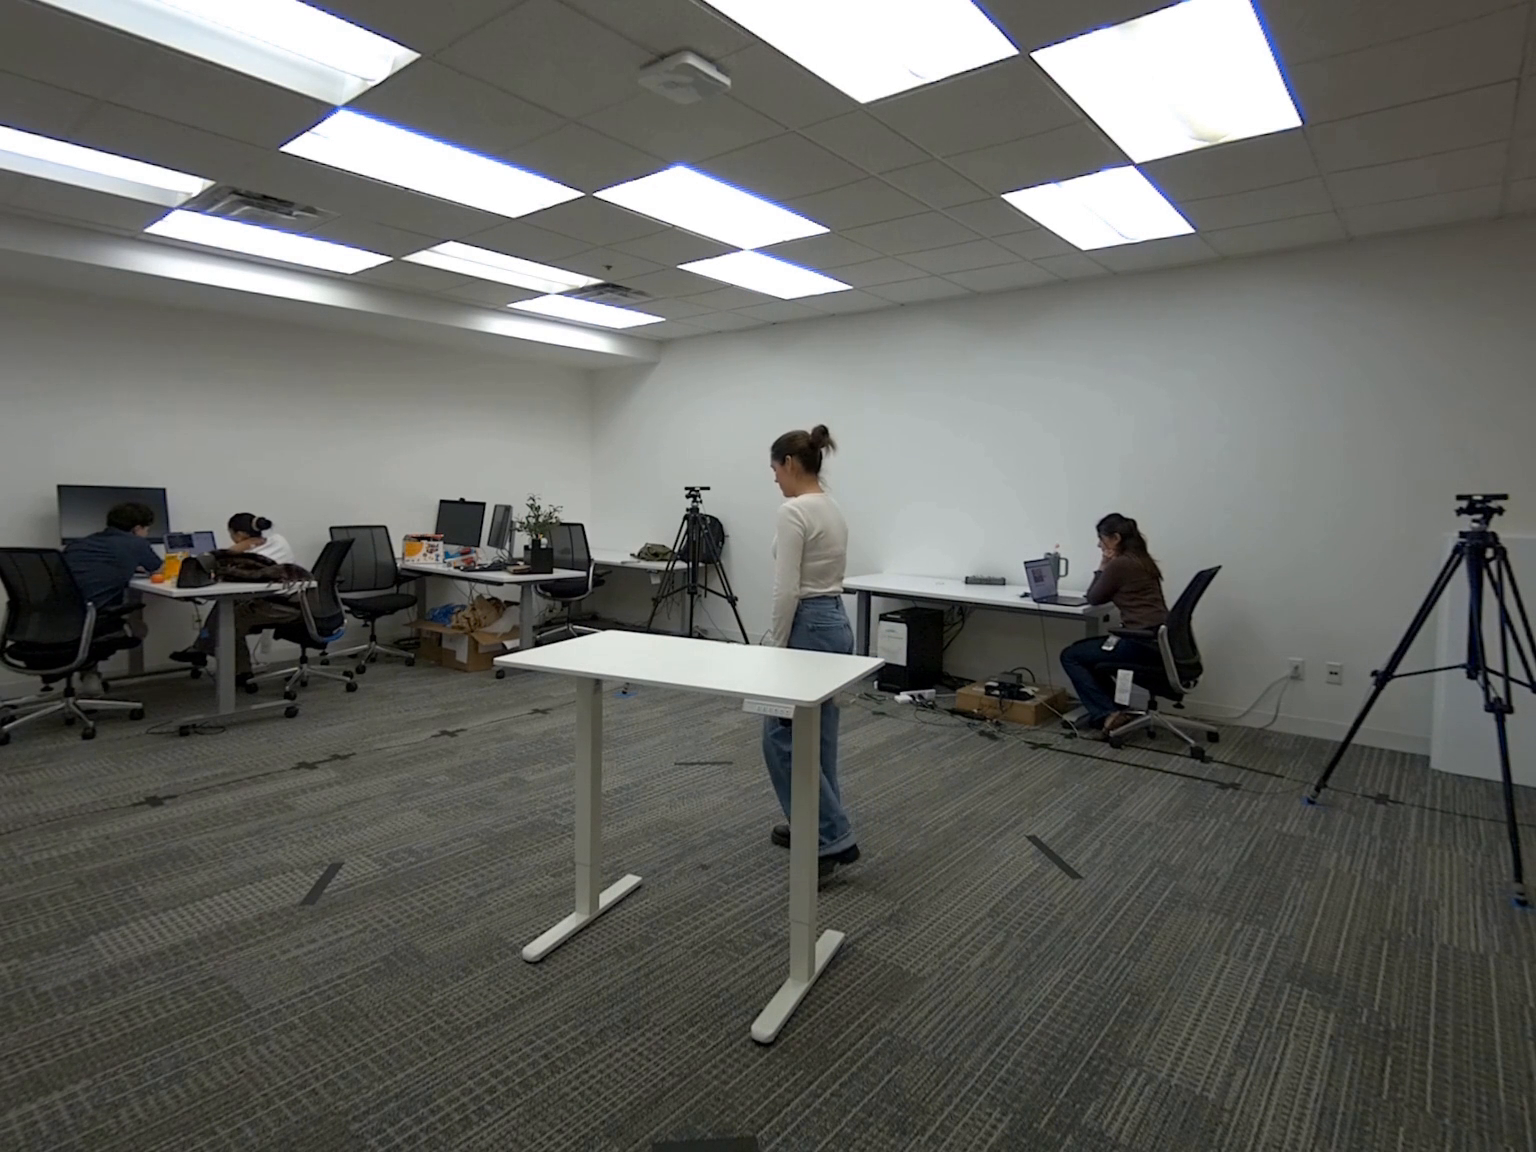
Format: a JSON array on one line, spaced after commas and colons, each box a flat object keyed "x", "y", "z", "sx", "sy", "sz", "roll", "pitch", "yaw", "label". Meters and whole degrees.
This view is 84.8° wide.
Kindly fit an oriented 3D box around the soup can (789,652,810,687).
[{"x": 0.127, "y": 0.382, "z": 3.456, "sx": 0.067, "sy": 0.121, "sz": 0.067, "roll": 2, "pitch": 5, "yaw": -2, "label": "soup can"}]
